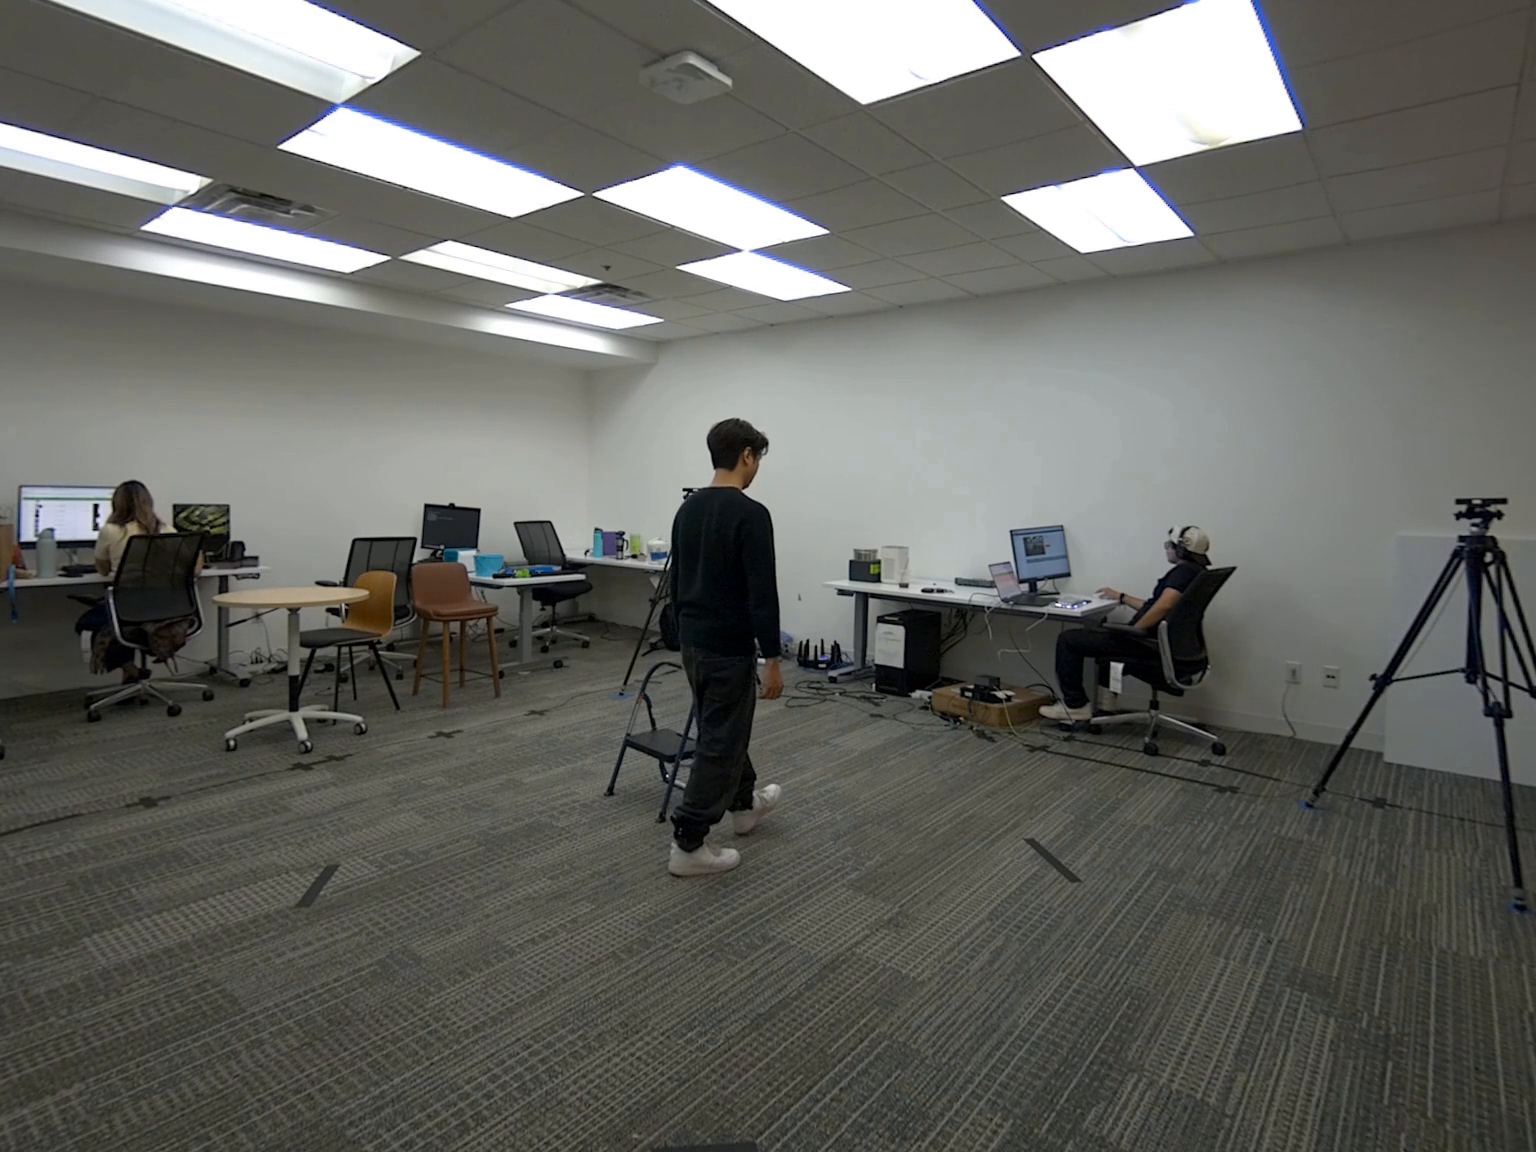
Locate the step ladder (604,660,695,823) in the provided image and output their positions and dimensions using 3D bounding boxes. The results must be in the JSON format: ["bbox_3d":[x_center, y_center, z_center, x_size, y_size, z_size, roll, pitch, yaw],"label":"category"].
[{"bbox_3d":[-0.479,0.697,3.791,0.339,0.604,0.445,-2,5,-43],"label":"step ladder"}]
